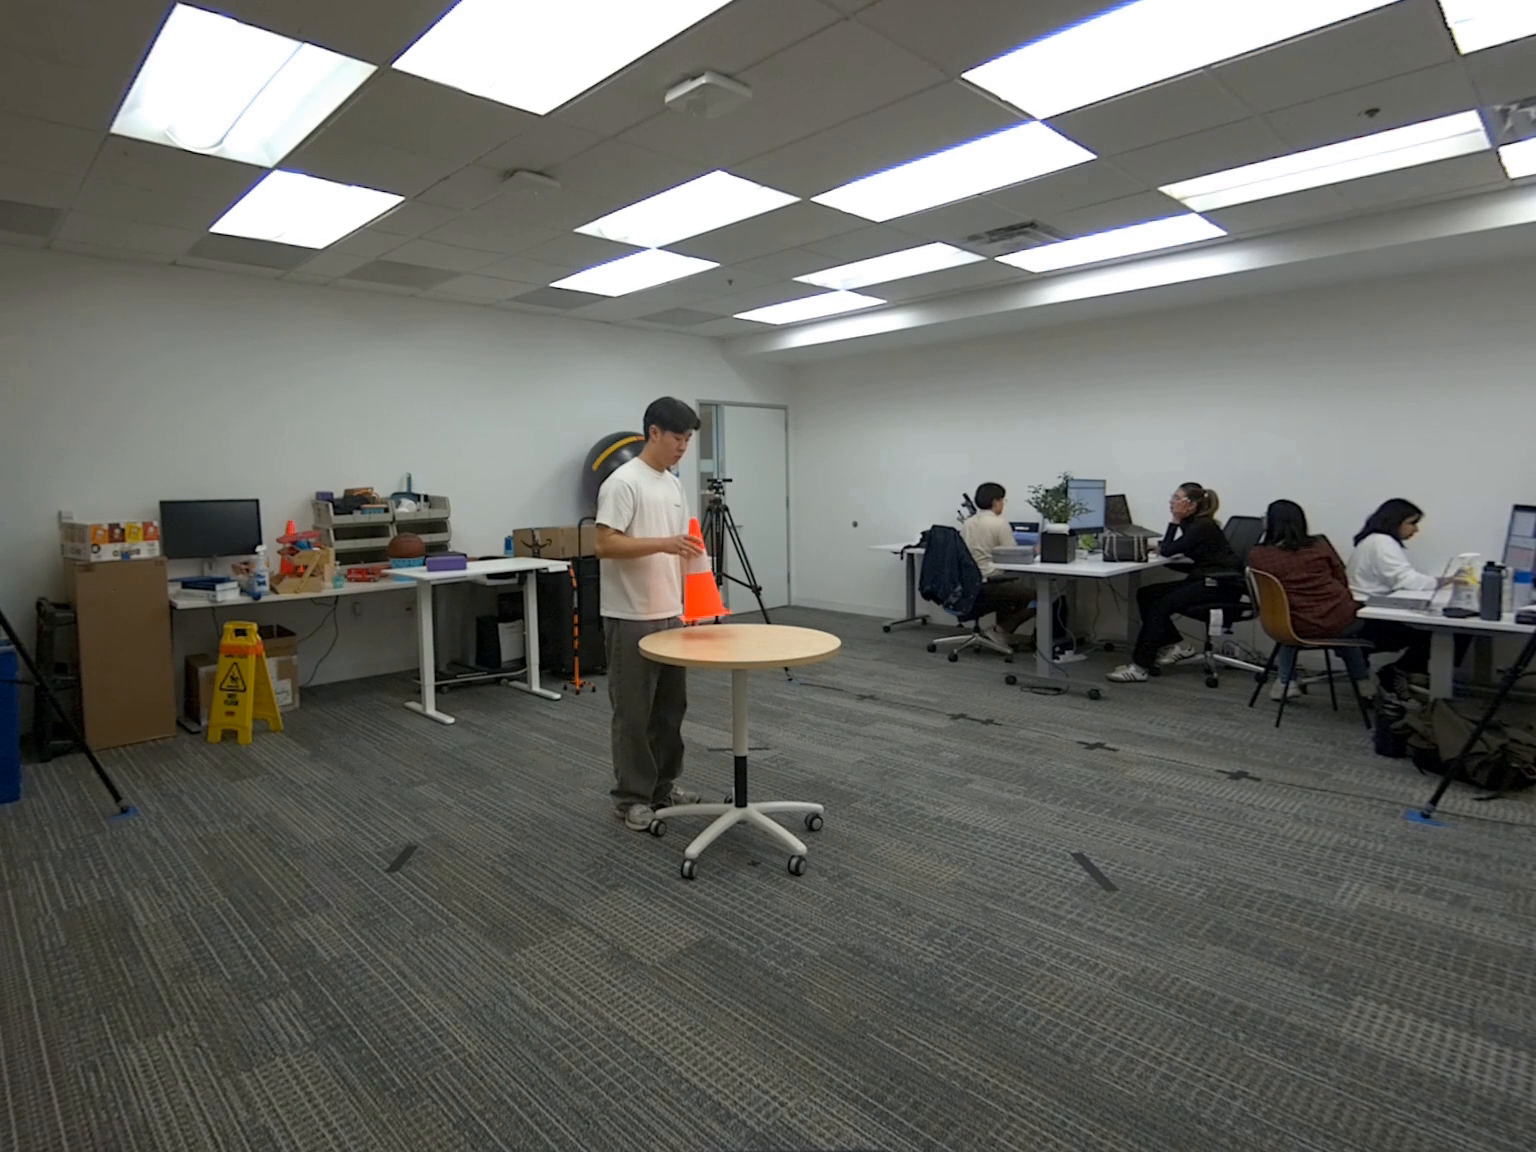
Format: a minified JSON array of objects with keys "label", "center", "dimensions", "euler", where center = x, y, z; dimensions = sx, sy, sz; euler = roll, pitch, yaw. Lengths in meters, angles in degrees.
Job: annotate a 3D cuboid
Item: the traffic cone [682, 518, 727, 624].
[{"label":"traffic cone","center":[-0.268,-0.032,3.353],"dimensions":[0.202,0.383,0.207],"euler":[-7,3,-7]}]
